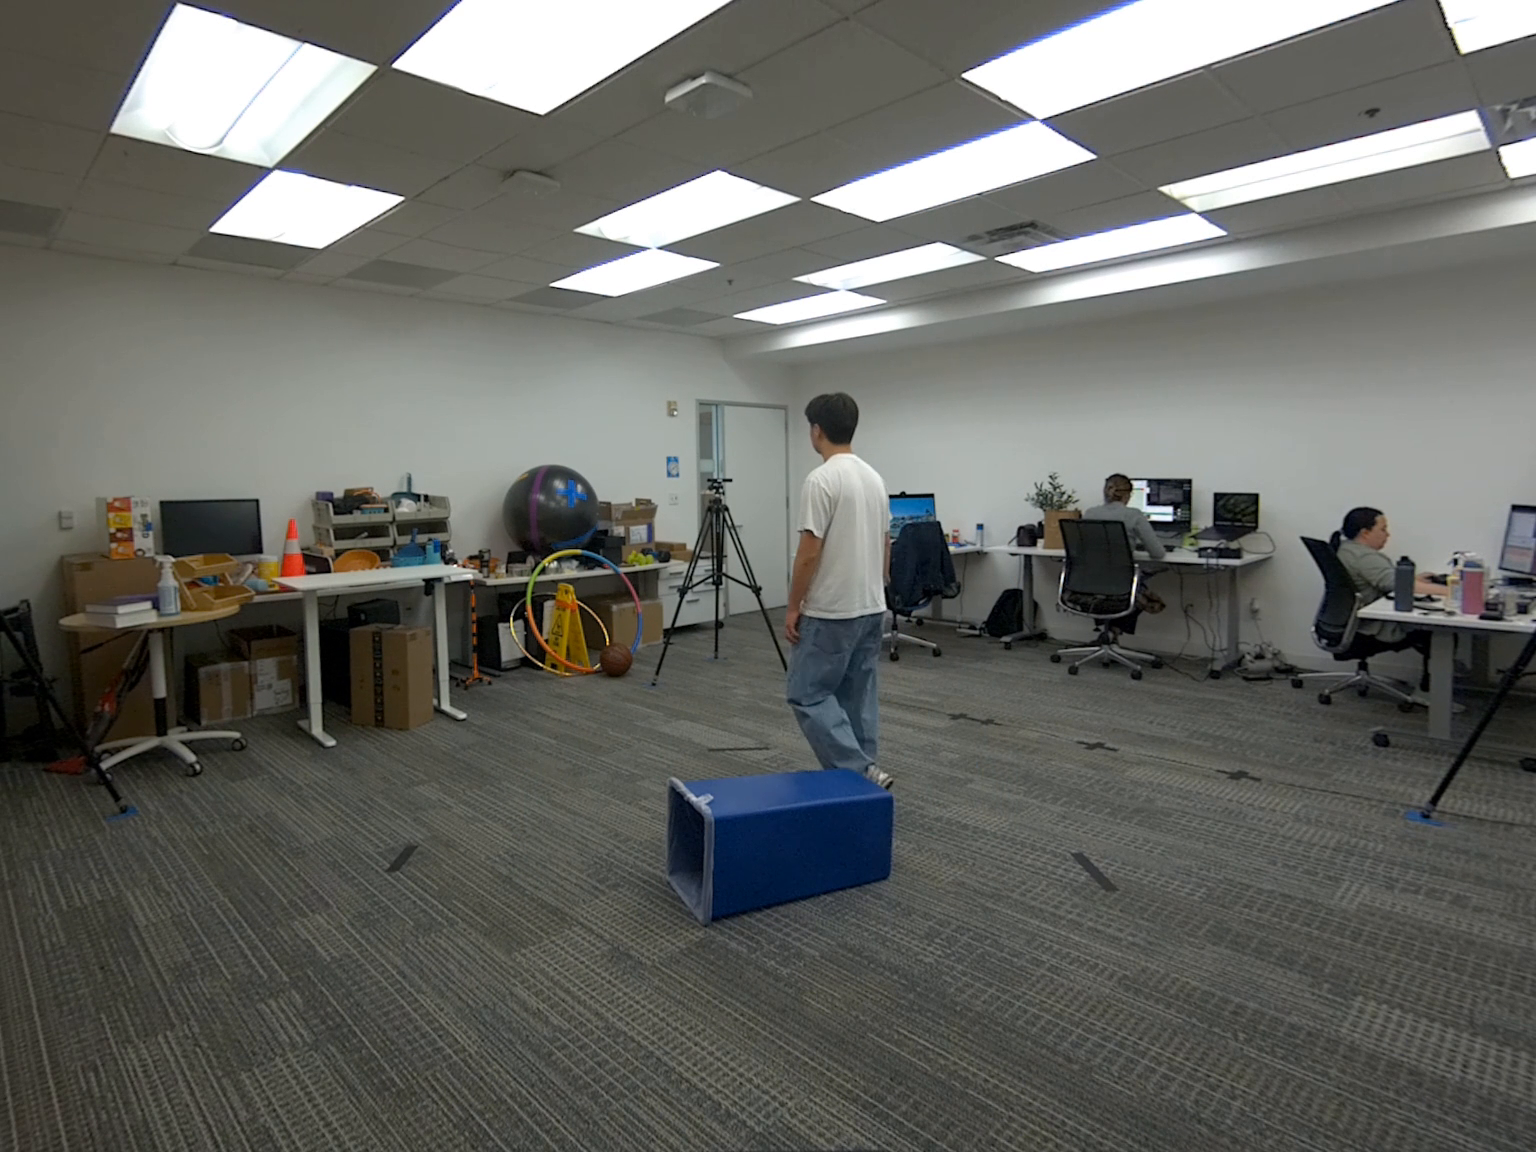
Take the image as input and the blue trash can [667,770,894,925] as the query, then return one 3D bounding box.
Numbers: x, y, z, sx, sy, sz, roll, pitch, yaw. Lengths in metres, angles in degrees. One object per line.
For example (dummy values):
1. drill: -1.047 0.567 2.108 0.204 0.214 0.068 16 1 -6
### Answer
1. blue trash can: 0.041 0.897 2.959 0.698 0.377 0.383 0 4 -25
